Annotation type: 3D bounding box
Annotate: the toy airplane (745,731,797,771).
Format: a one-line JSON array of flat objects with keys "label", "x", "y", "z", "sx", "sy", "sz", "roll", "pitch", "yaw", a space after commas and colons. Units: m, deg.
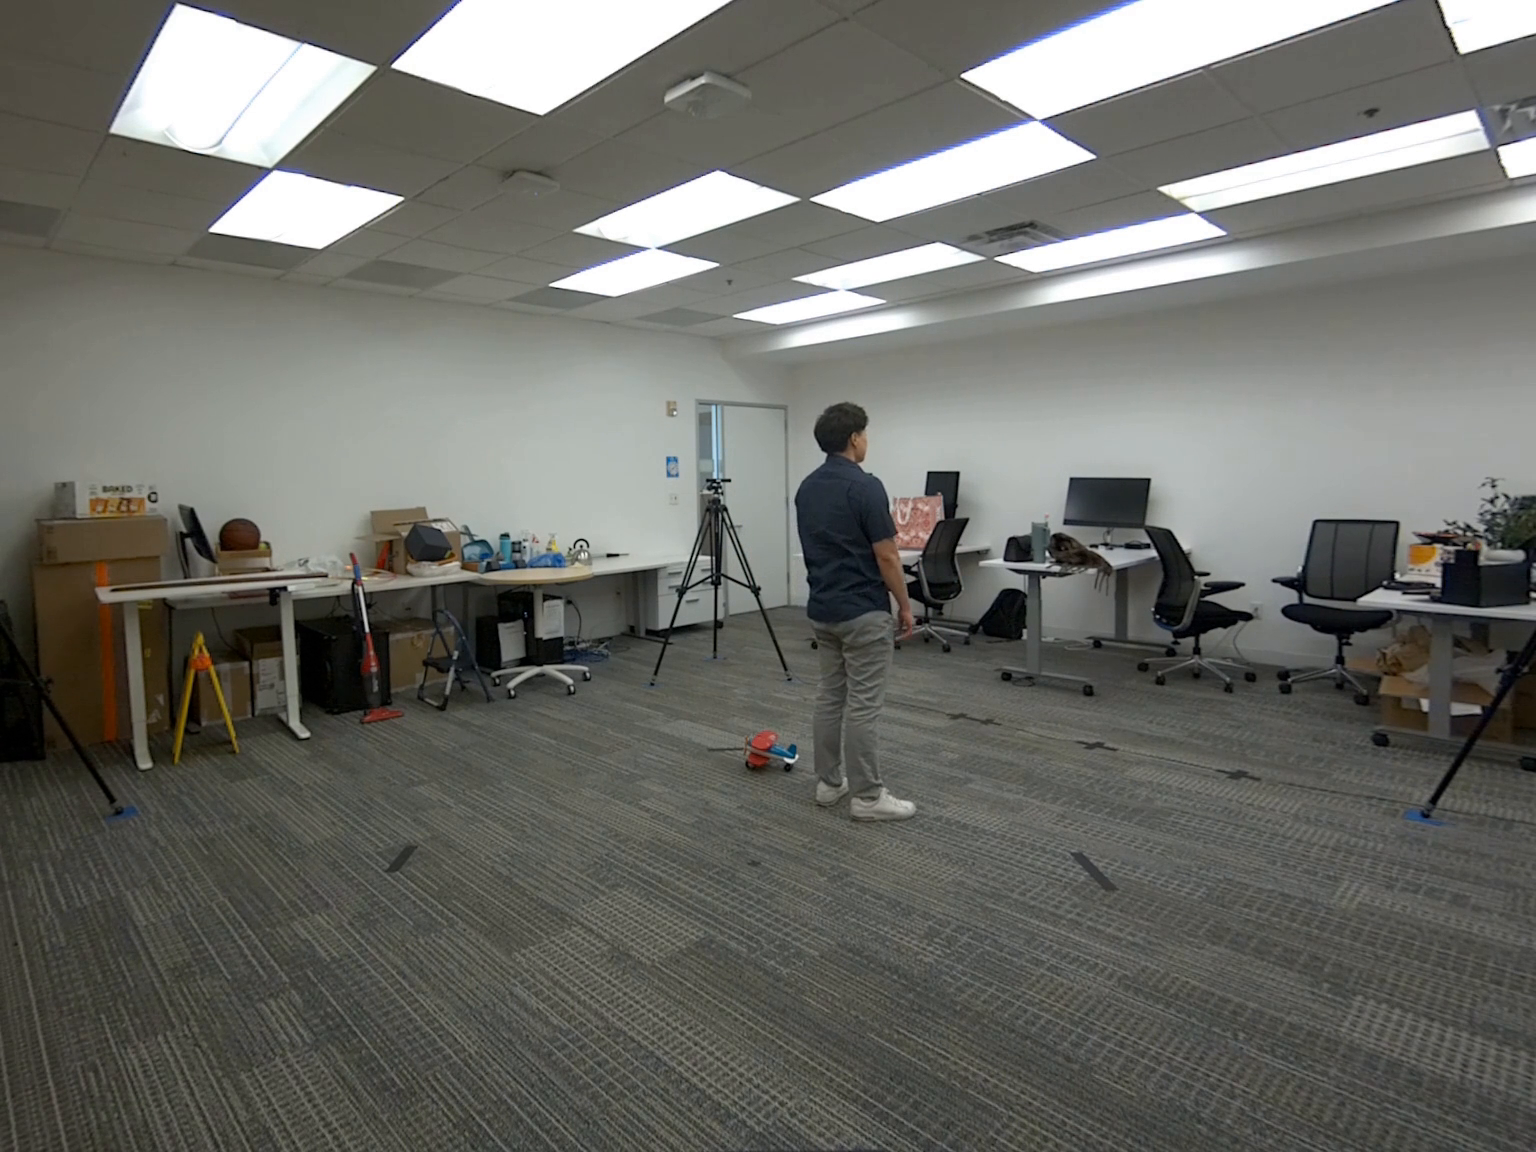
[{"label": "toy airplane", "x": 0.013, "y": 0.852, "z": 4.153, "sx": 0.257, "sy": 0.156, "sz": 0.254, "roll": -3, "pitch": 5, "yaw": -9}]
